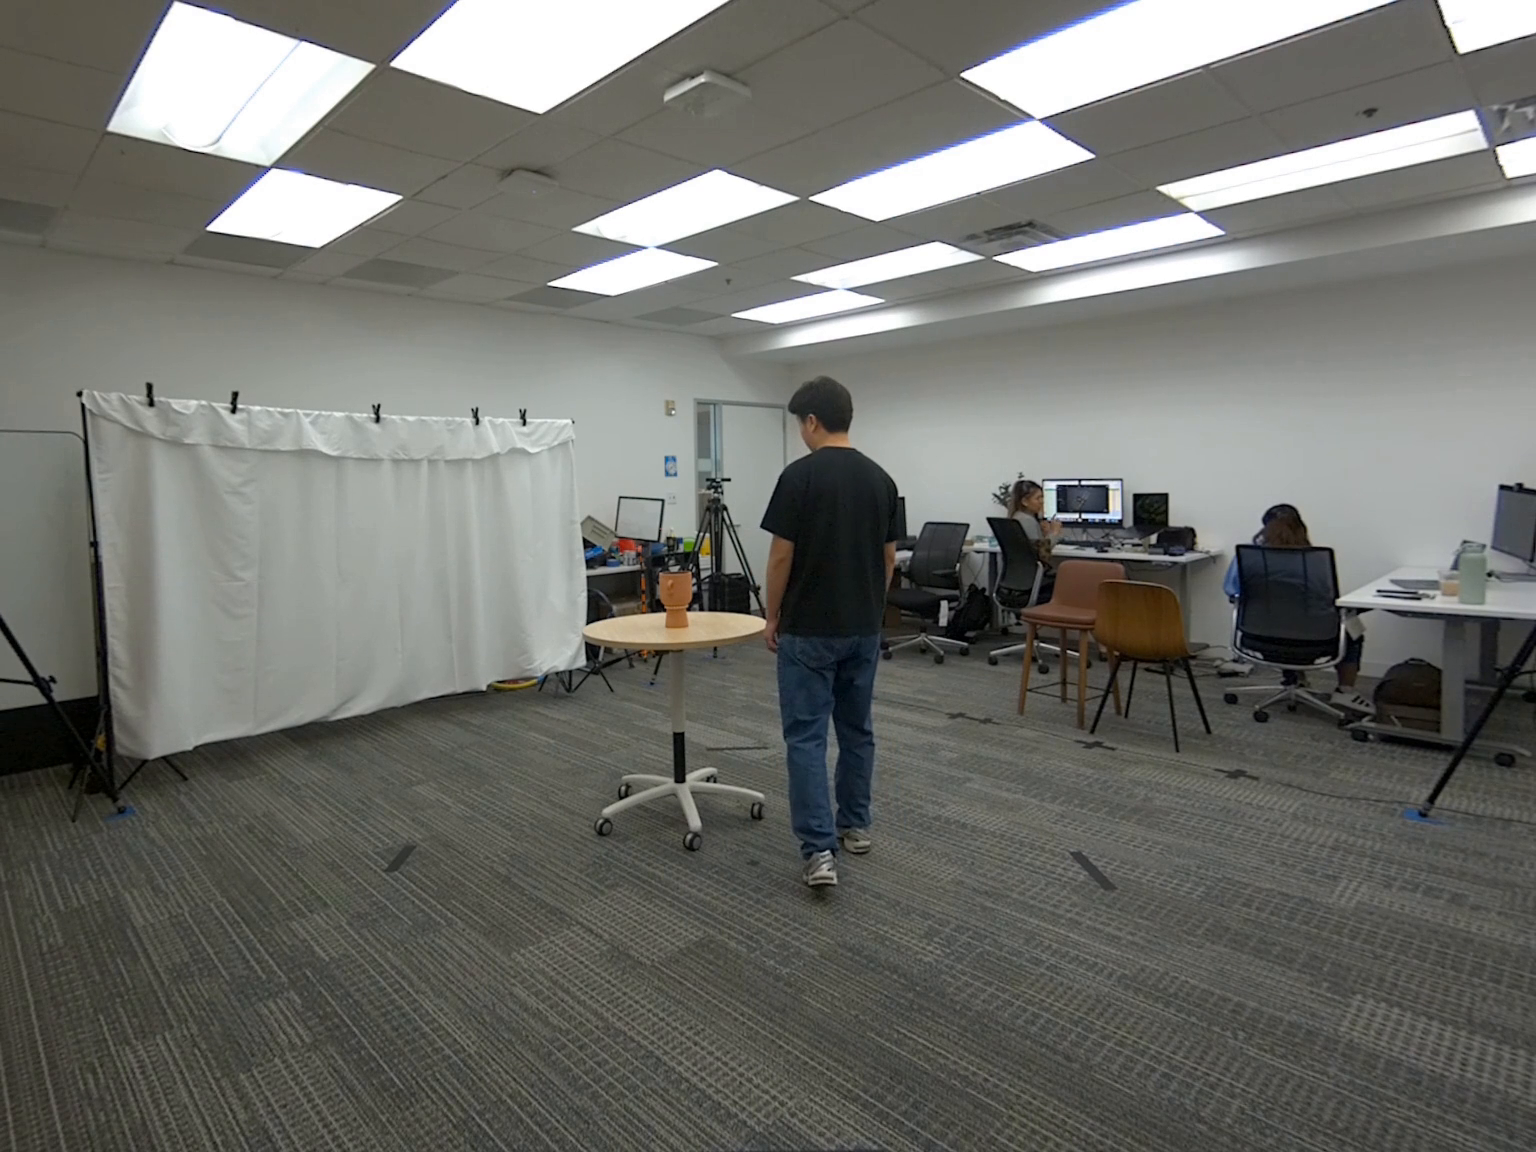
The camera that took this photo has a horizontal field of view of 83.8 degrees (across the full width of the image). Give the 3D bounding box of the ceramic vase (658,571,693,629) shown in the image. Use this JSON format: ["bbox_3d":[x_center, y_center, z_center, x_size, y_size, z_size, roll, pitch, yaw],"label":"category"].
[{"bbox_3d":[-0.375,0.096,3.511,0.155,0.219,0.138,-4,4,-38],"label":"ceramic vase"}]
